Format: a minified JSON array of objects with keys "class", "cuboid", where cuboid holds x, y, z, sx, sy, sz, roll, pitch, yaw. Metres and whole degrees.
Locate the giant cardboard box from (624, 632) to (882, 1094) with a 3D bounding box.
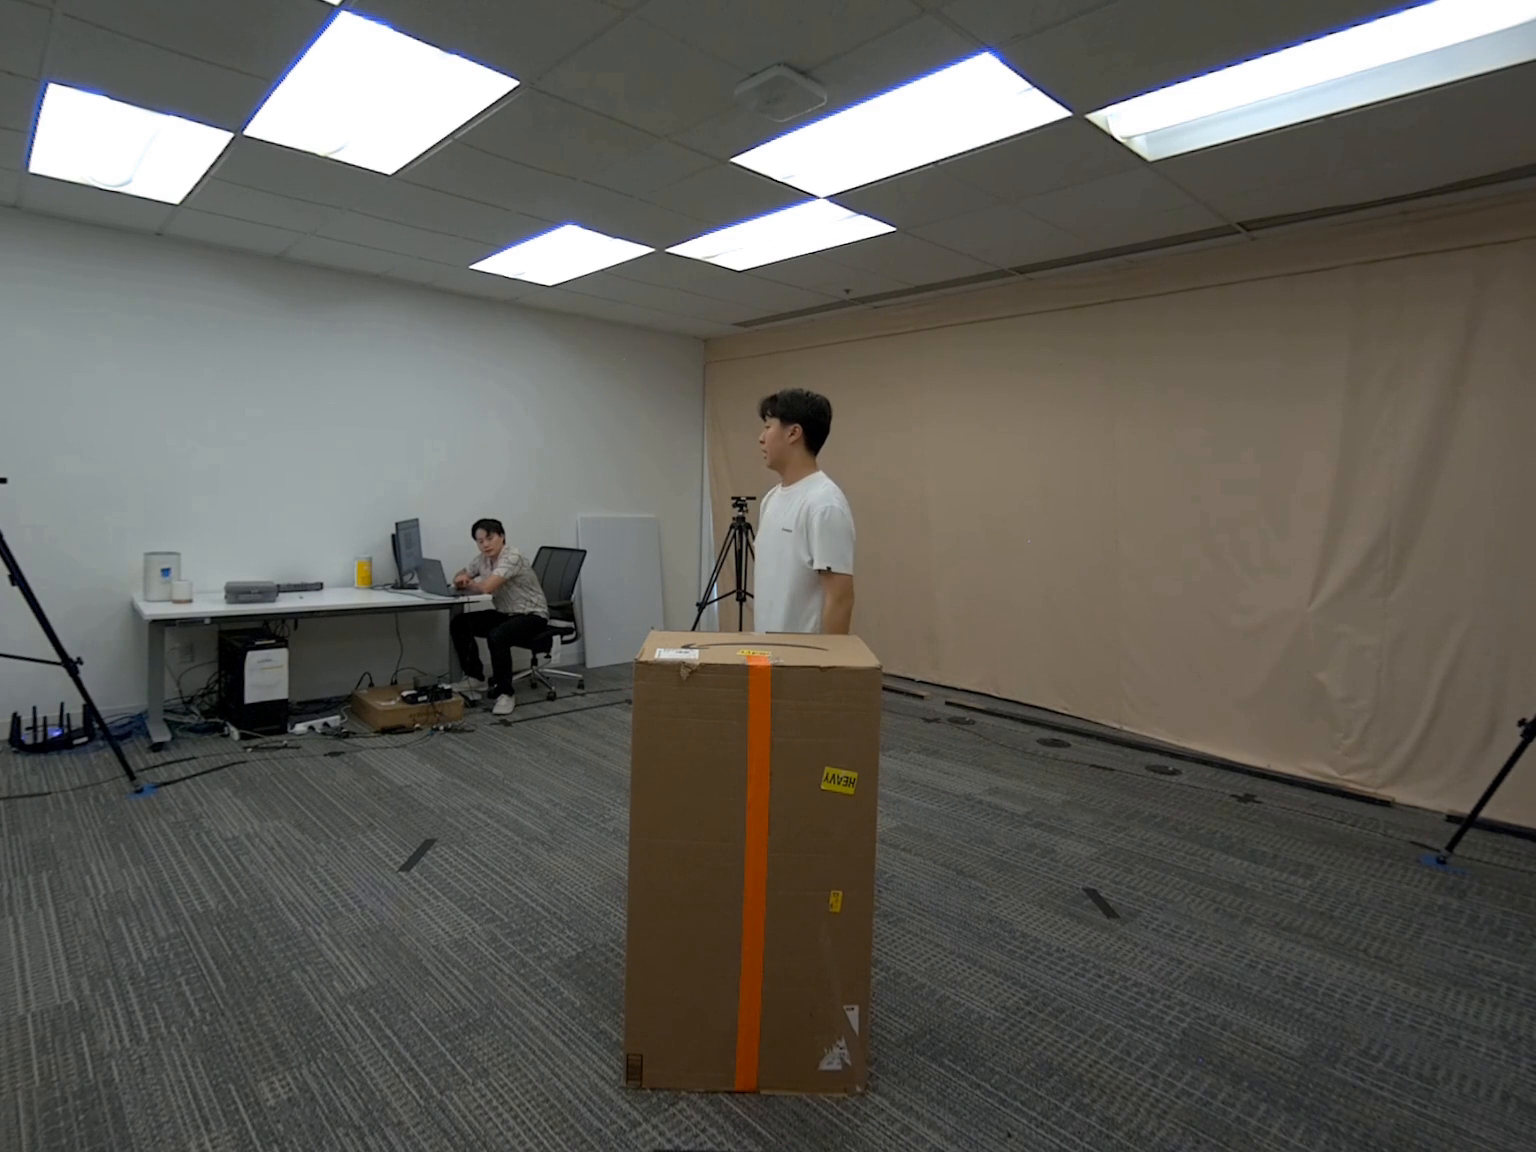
[{"class":"giant cardboard box","cuboid":[-0.054,0.688,2.151,0.577,1.023,0.427,1,3,-1]}]
